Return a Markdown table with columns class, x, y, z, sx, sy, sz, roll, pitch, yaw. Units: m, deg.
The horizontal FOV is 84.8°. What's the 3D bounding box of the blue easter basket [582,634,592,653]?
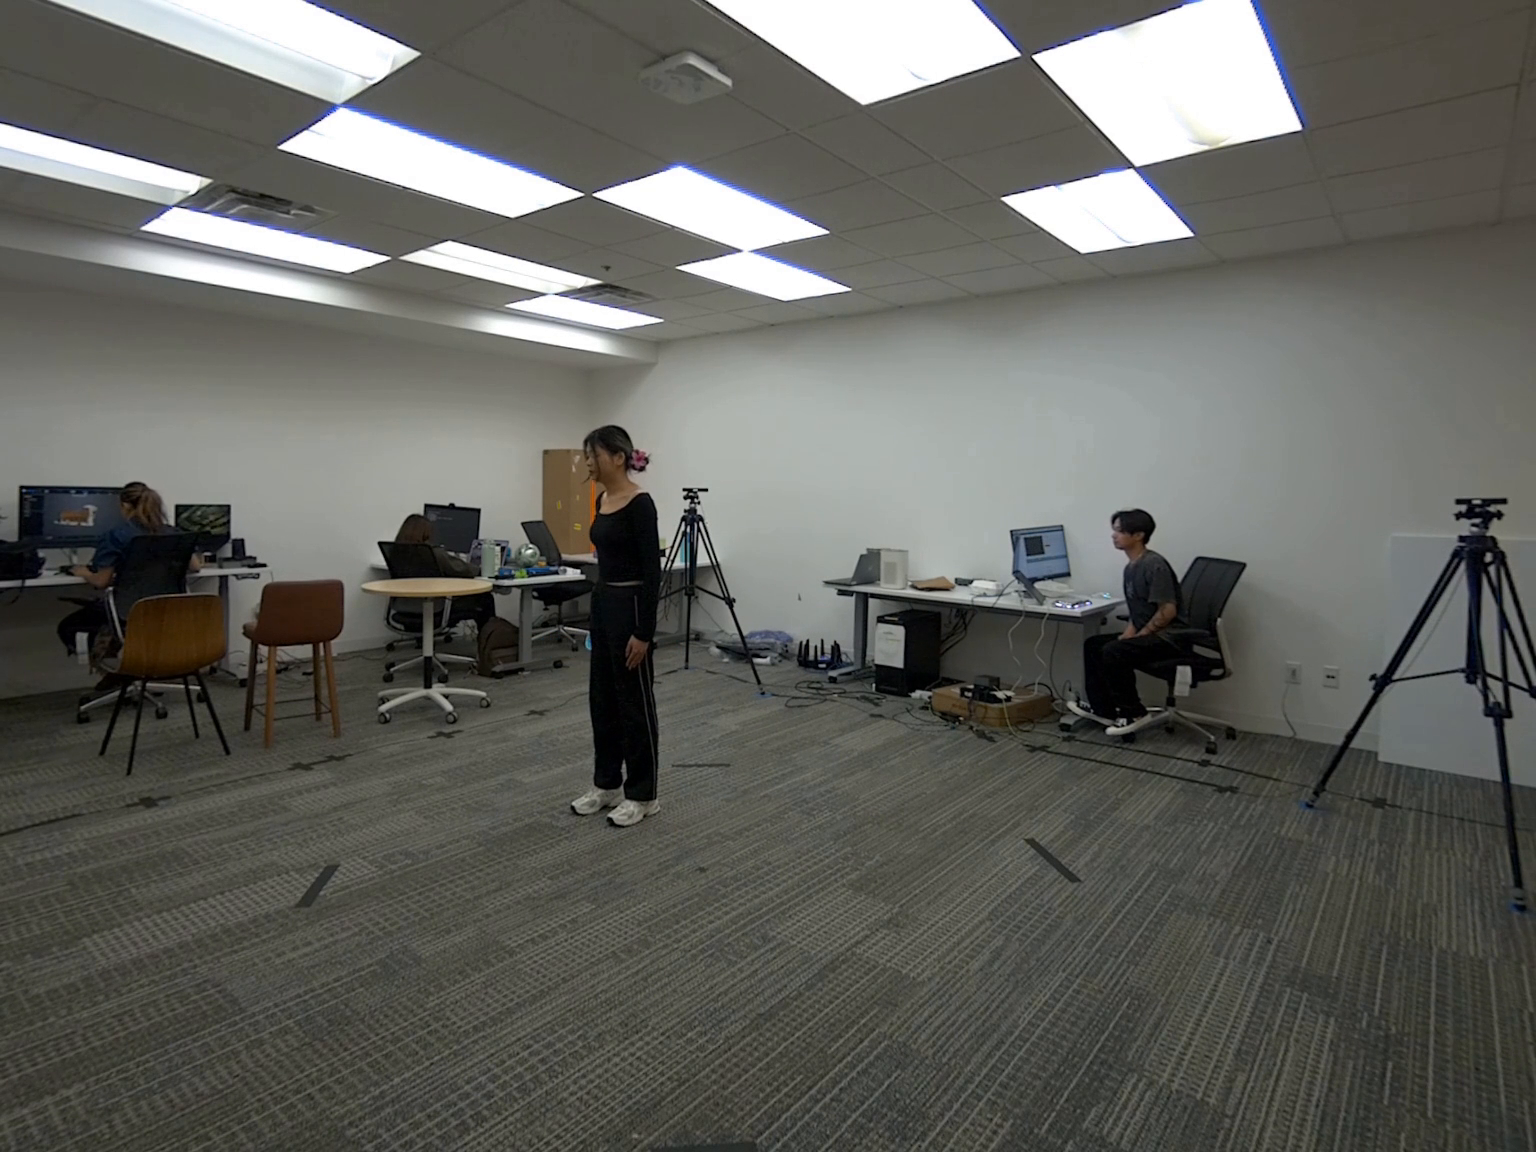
| class | x | y | z | sx | sy | sz | roll | pitch | yaw |
| --- | --- | --- | --- | --- | --- | --- | --- | --- | --- |
| blue easter basket | -0.732 | 0.303 | 3.982 | 0.252 | 0.244 | 0.150 | 6 | -36 | 52 |
